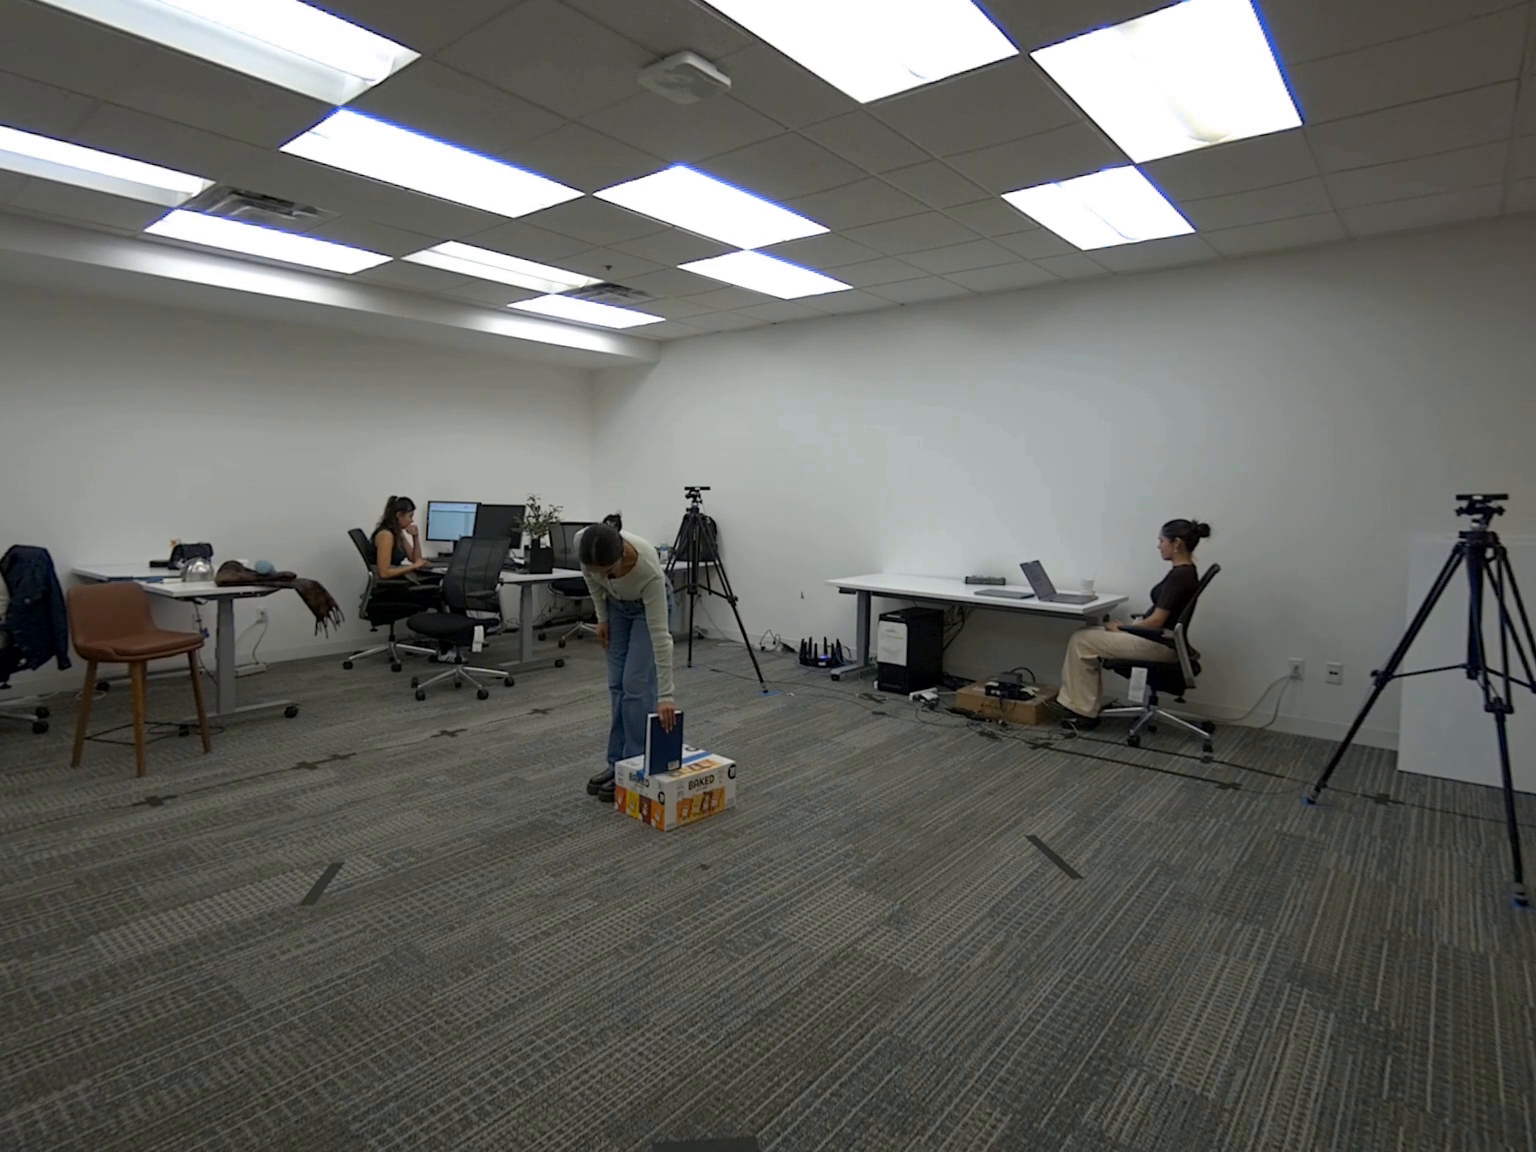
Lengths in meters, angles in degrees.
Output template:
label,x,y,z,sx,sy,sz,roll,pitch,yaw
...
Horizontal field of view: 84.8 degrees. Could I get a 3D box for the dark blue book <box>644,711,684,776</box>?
label,x,y,z,sx,sy,sz,roll,pitch,yaw
dark blue book,-0.445,0.682,3.537,0.159,0.244,0.047,0,5,-34
